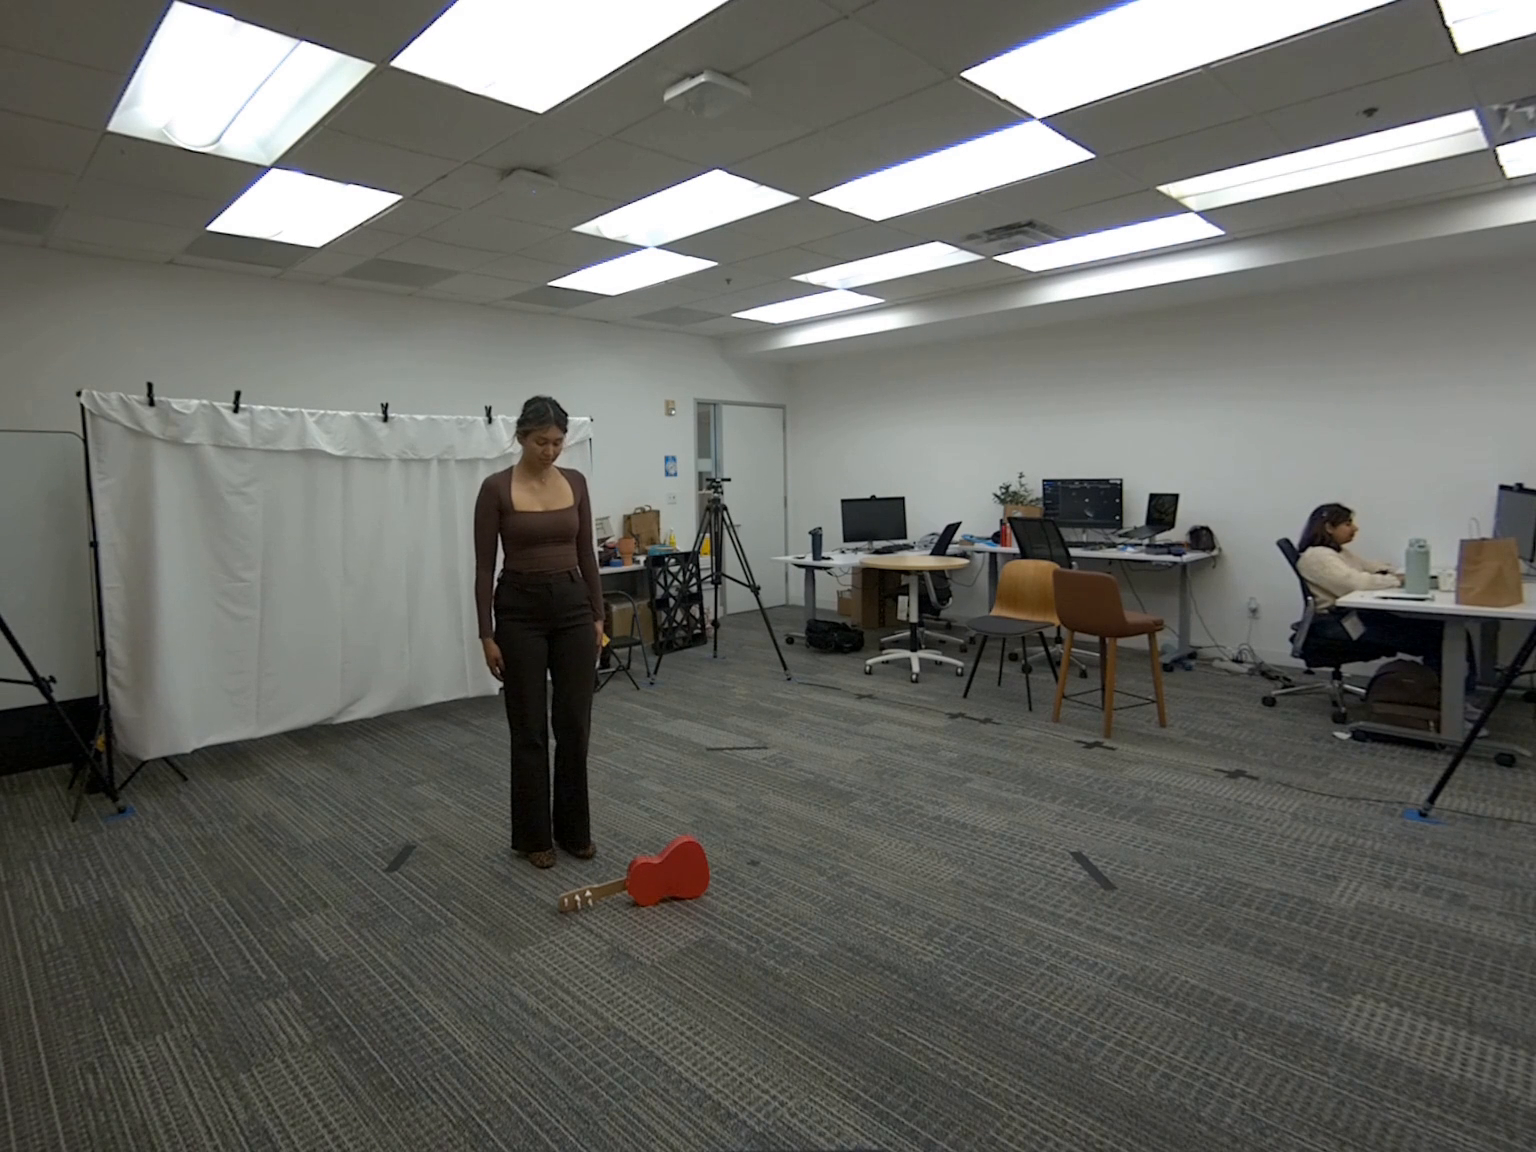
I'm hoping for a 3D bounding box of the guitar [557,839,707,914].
[{"bbox_3d":[-0.429,1.041,2.823,0.494,0.191,0.072,-22,6,-15],"label":"guitar"}]
